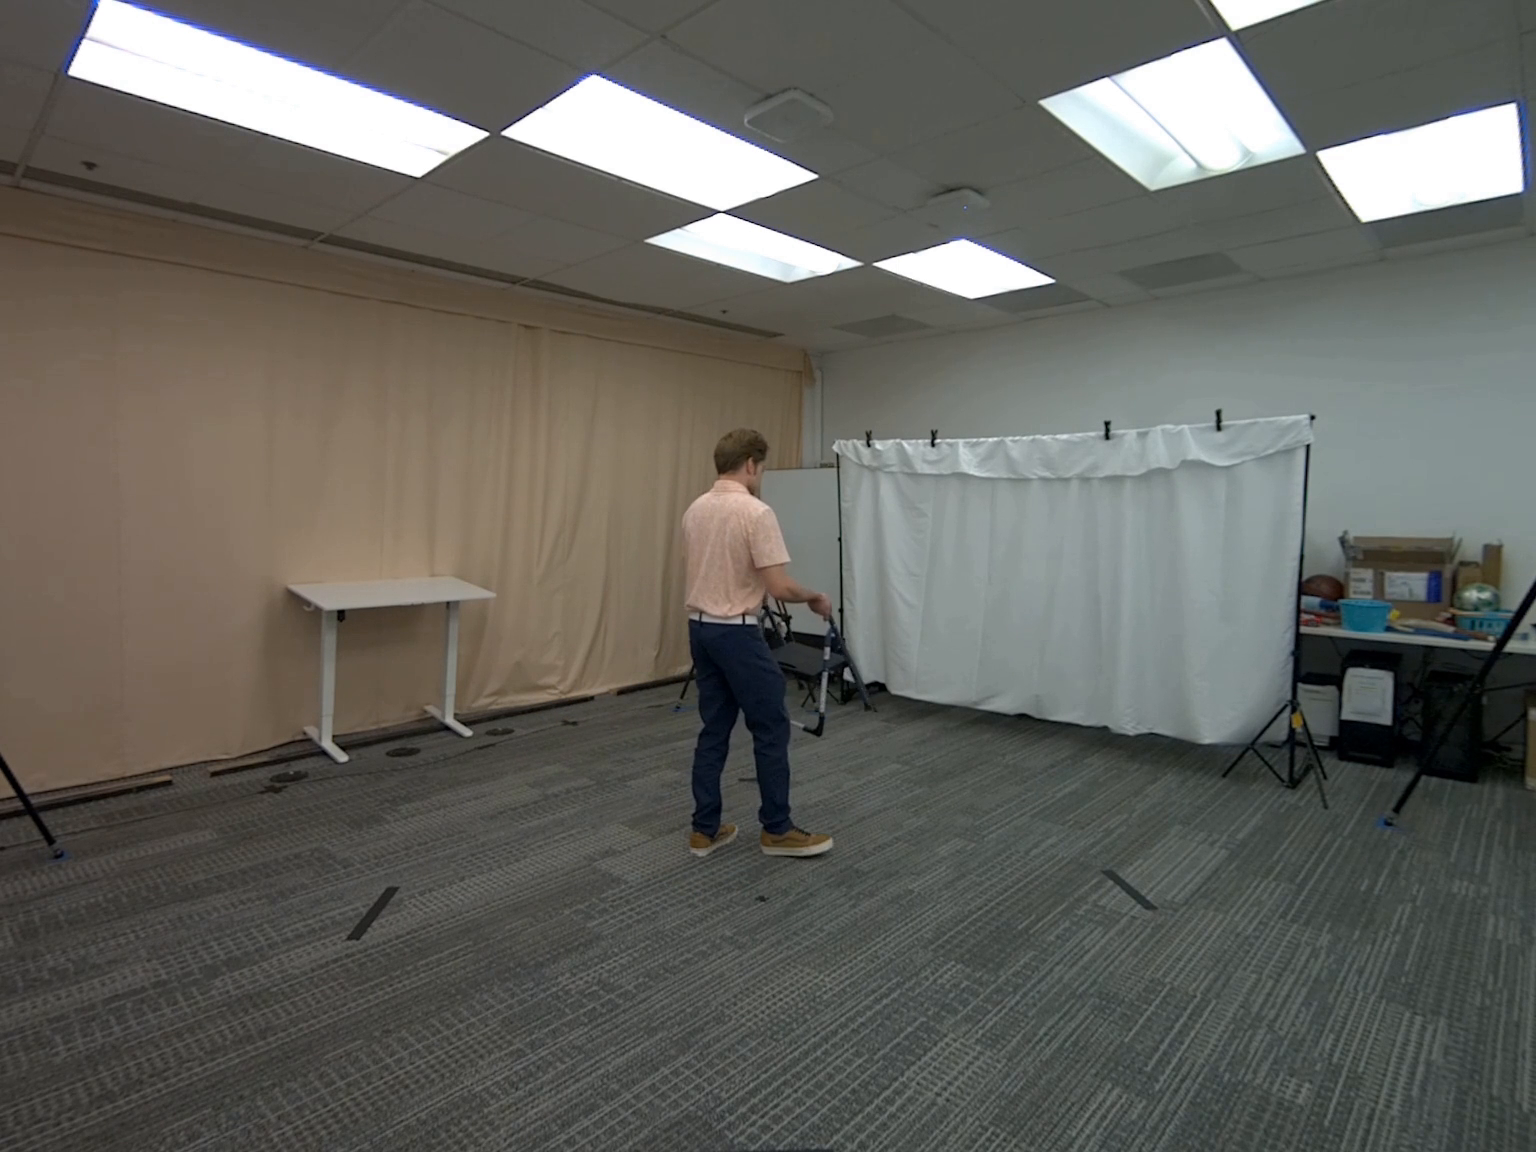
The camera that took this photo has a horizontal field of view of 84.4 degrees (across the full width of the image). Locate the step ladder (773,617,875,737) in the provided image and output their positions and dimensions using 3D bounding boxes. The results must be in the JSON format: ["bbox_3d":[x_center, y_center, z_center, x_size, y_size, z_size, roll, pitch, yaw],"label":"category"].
[{"bbox_3d":[0.161,0.307,3.641,0.341,0.600,0.446,-18,19,-40],"label":"step ladder"}]
